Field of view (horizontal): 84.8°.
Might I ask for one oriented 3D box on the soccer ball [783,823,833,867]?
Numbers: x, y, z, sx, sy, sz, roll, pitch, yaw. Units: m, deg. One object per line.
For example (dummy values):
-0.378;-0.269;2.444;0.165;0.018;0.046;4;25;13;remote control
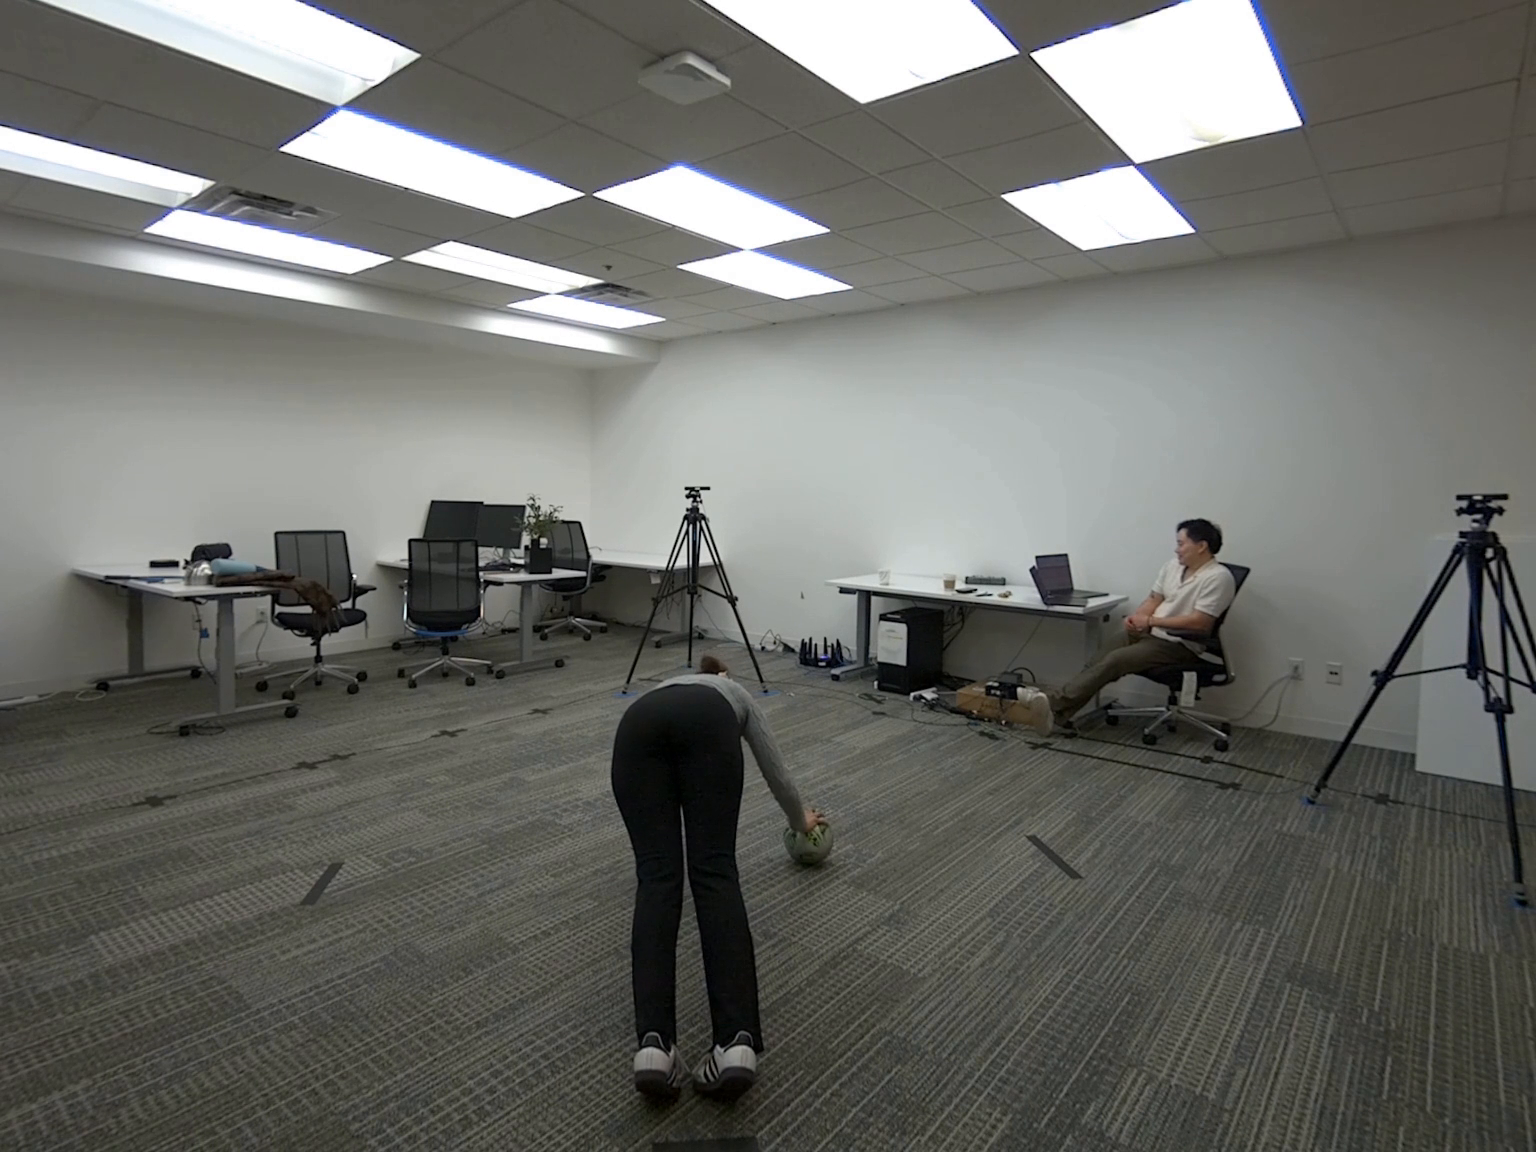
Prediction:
0.134;0.978;3.173;0.187;0.187;0.188;1;4;-2;soccer ball
